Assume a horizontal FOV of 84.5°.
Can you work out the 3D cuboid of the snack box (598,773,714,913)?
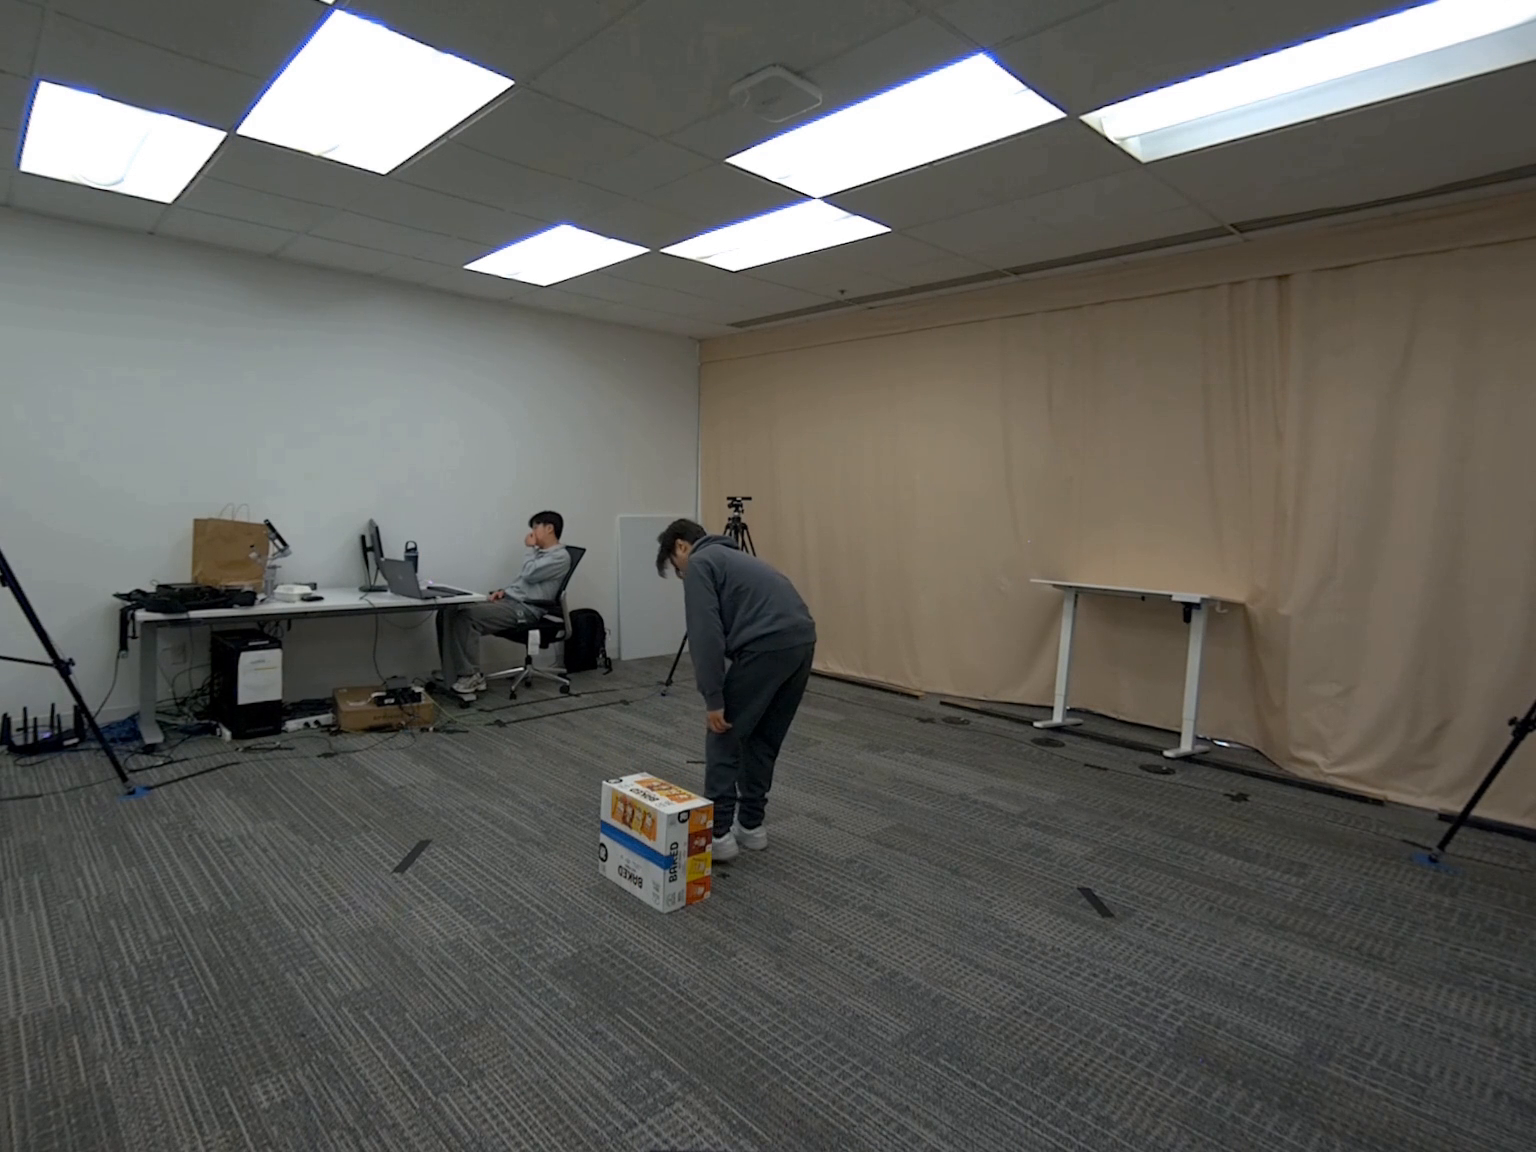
[{"bbox_3d":[-0.415,0.942,3.008,0.201,0.340,0.415,0,4,-42],"label":"snack box"}]
